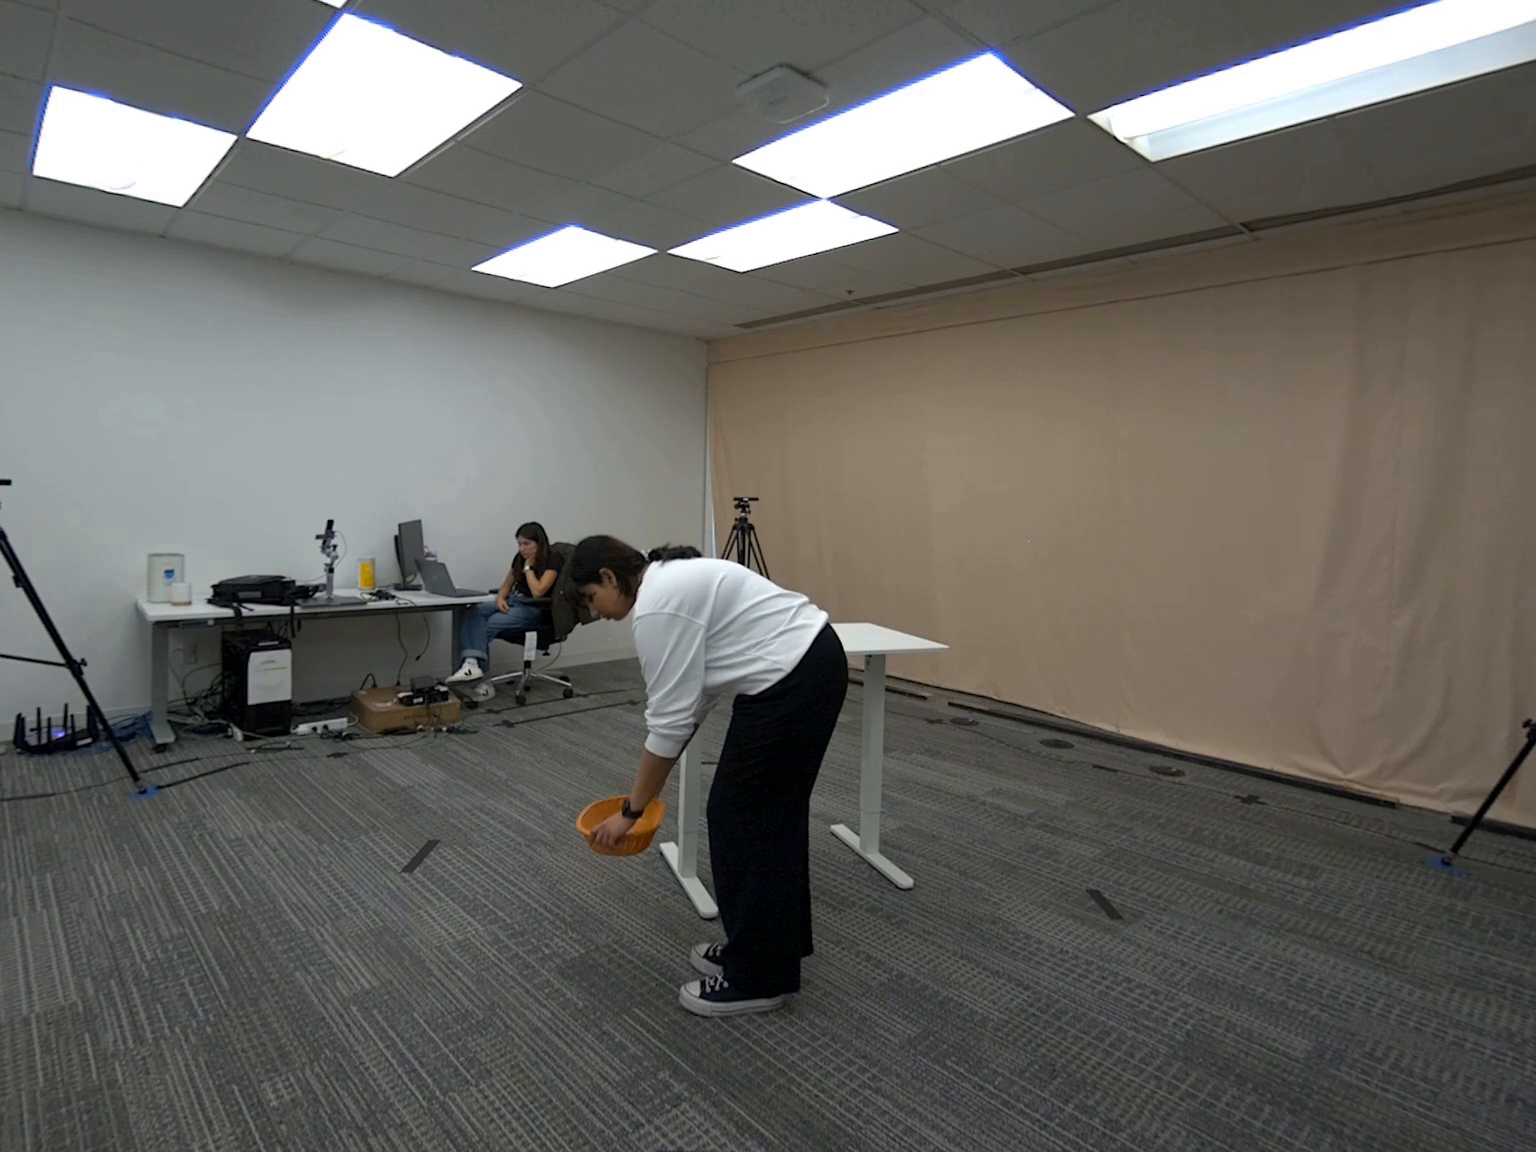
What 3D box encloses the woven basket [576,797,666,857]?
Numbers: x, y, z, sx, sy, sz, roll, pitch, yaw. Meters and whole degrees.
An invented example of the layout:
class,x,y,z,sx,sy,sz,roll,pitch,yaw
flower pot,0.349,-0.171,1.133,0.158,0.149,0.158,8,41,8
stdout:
class,x,y,z,sx,sy,sz,roll,pitch,yaw
woven basket,-0.426,0.733,2.437,0.253,0.073,0.350,-2,3,3
